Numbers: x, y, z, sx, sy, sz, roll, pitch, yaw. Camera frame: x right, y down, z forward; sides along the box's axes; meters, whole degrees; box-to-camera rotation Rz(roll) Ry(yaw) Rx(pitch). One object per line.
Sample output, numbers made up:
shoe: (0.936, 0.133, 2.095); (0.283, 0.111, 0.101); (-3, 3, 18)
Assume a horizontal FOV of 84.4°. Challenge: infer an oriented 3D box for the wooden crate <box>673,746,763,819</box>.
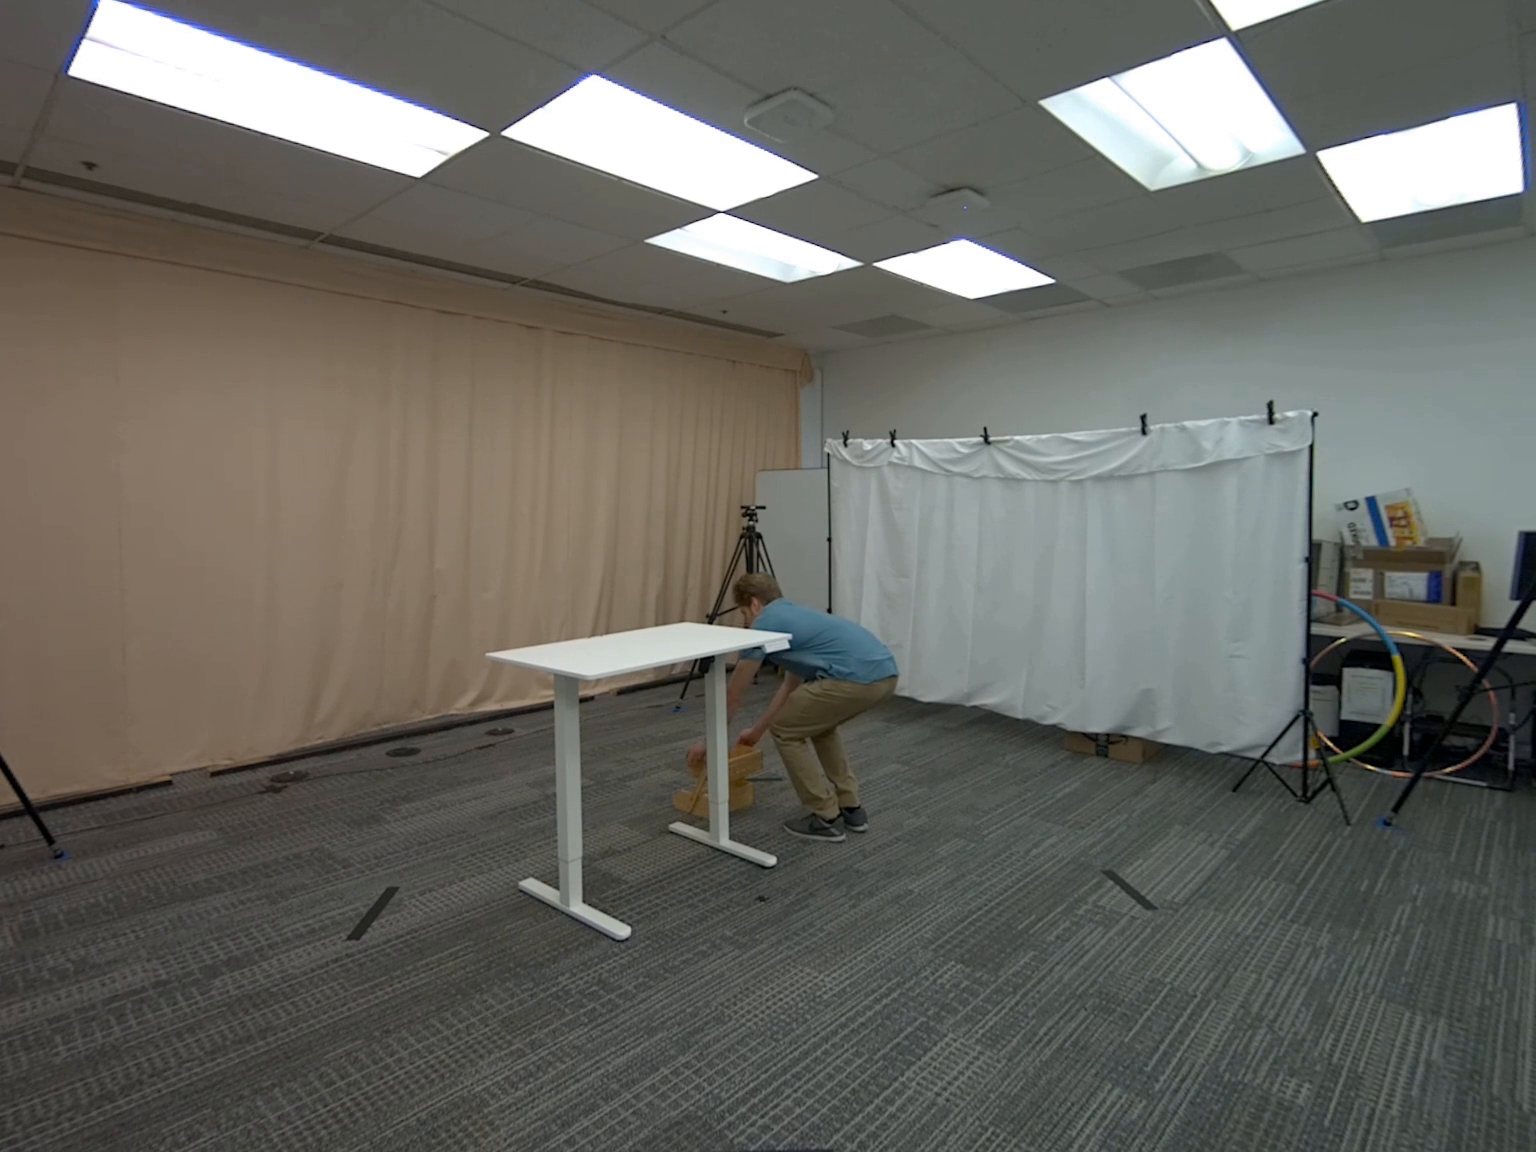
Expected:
wooden crate: (-0.238, 0.936, 3.914); (0.312, 0.272, 0.315); (4, 6, 40)
